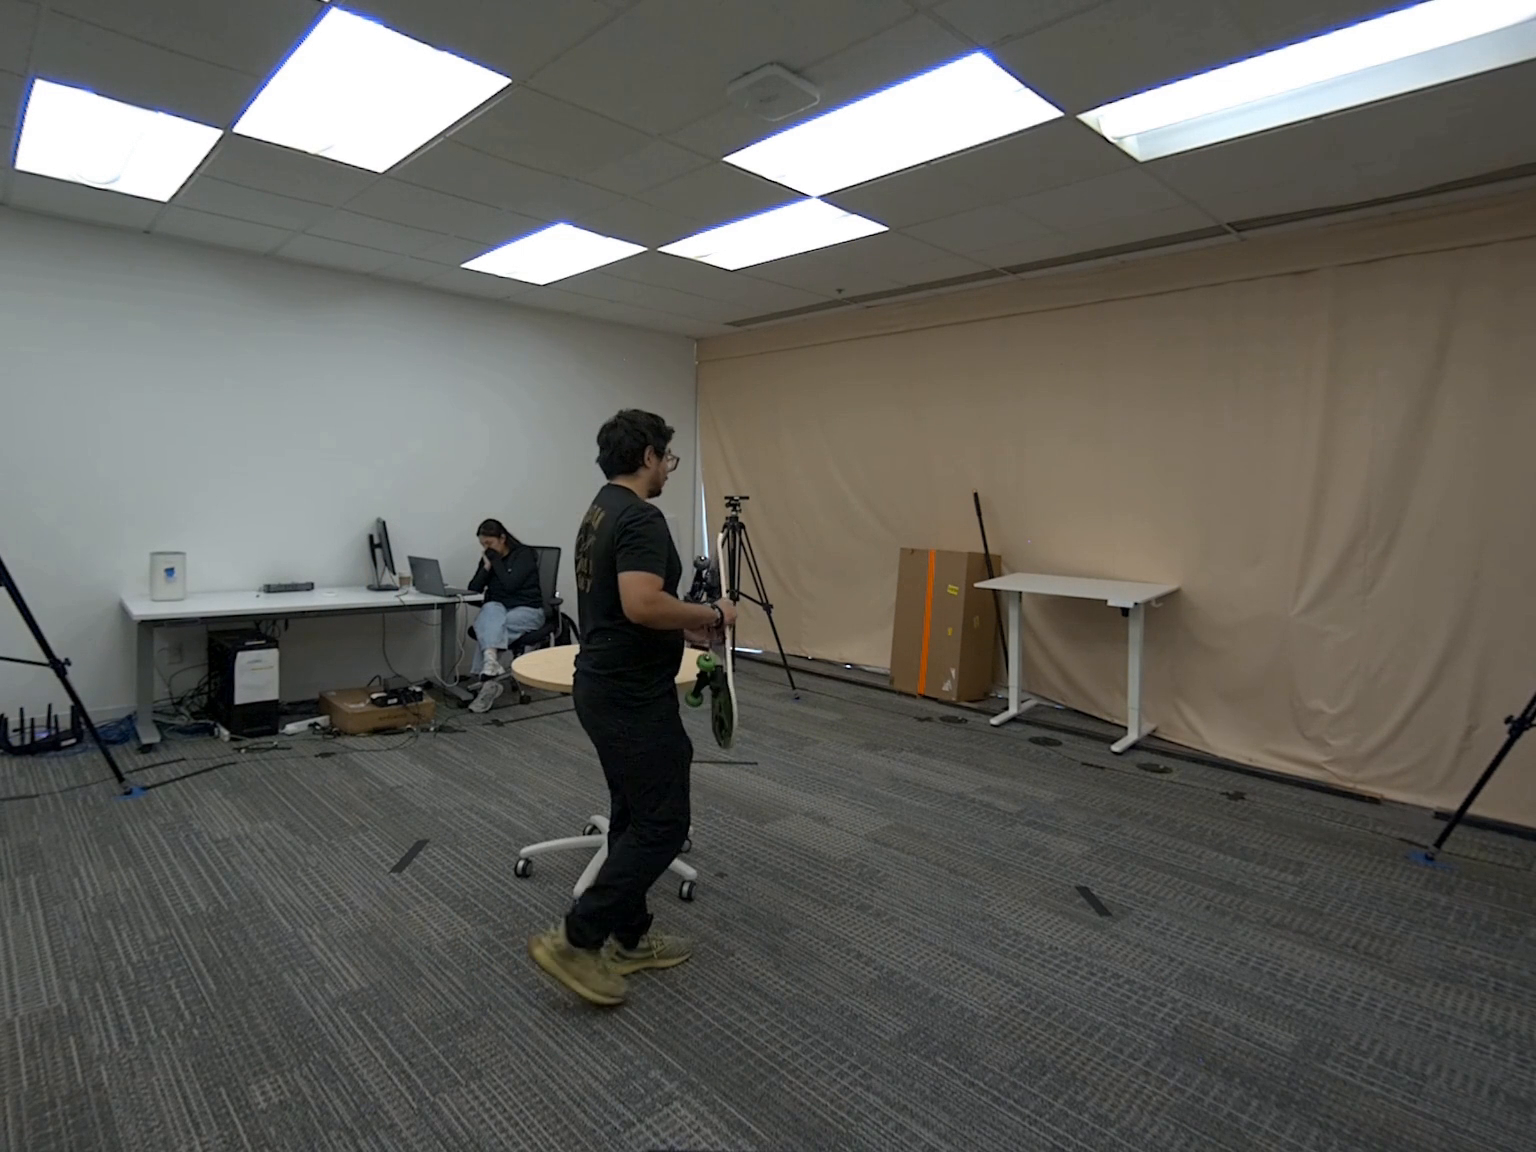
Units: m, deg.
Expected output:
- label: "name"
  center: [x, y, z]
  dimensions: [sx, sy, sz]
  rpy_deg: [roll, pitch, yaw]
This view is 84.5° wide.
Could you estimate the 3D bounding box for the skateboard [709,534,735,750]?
- label: "skateboard"
  center: [-0.191, 0.155, 2.438]
  dimensions: [0.109, 0.190, 0.803]
  rpy_deg: [8, 42, -10]
